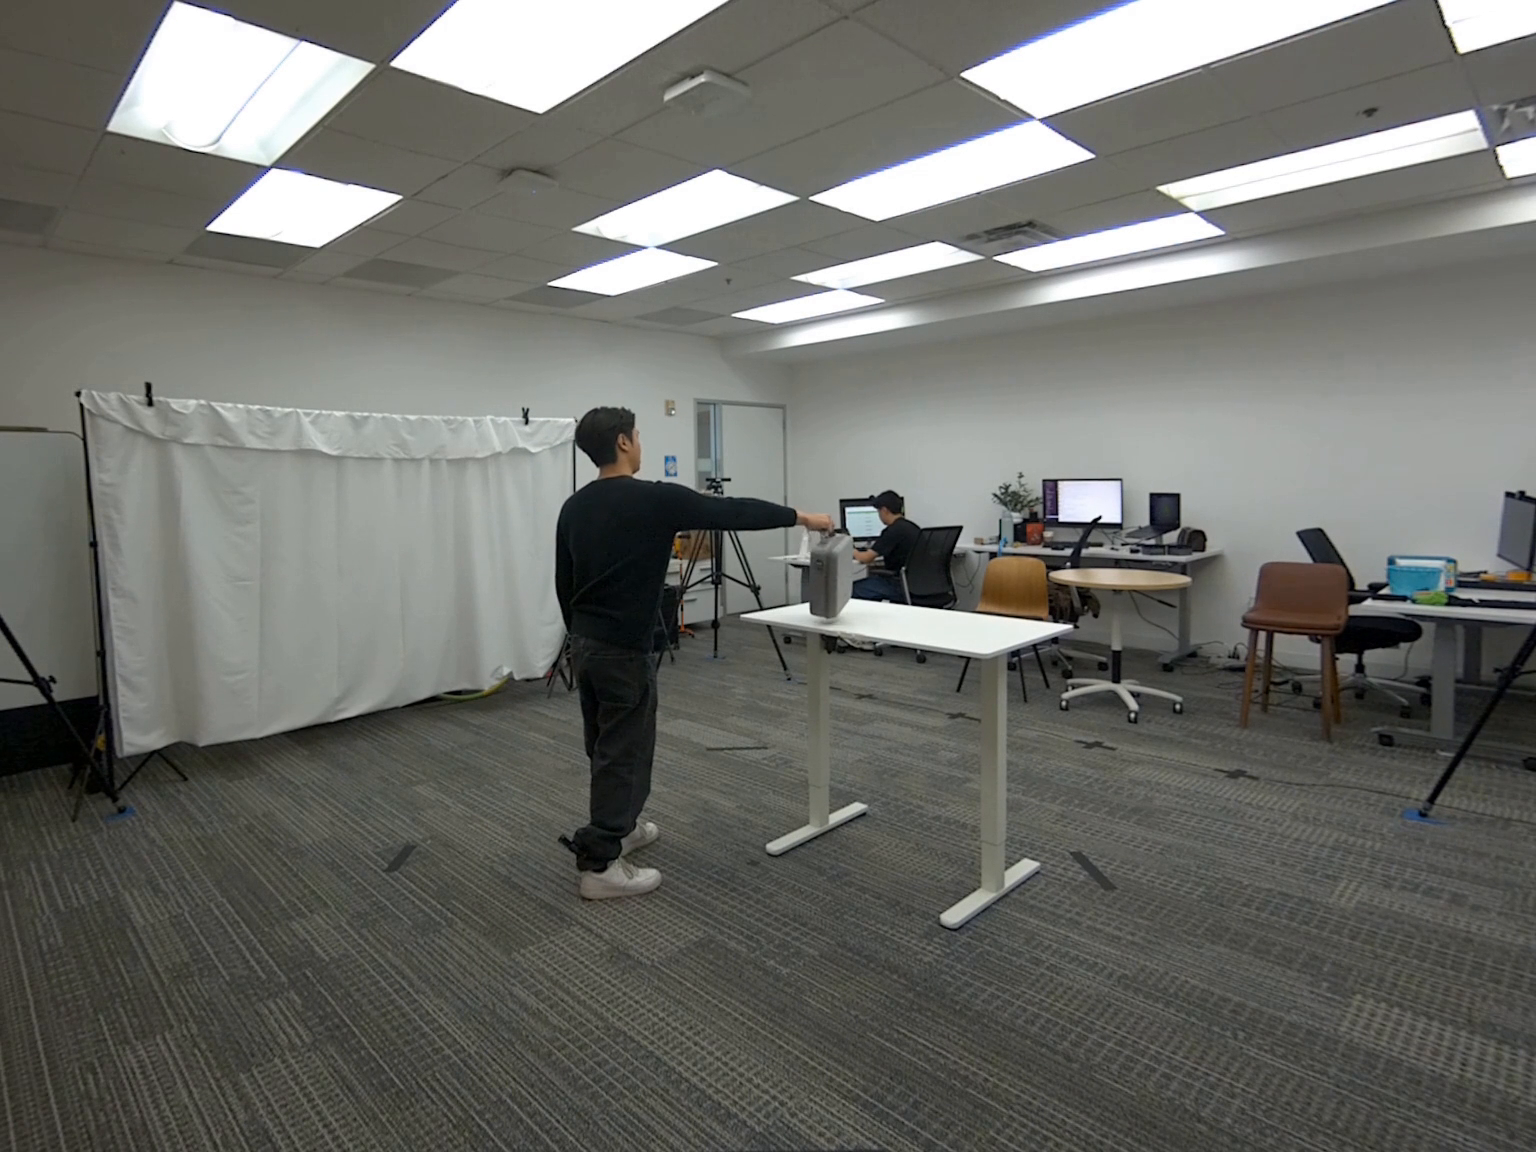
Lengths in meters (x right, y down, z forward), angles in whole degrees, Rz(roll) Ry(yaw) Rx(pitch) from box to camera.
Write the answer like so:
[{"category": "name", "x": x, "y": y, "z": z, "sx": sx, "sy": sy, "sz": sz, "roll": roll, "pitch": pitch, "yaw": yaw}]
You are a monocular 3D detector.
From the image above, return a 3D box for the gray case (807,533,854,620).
[{"category": "gray case", "x": 0.217, "y": -0.003, "z": 3.037, "sx": 0.106, "sy": 0.257, "sz": 0.255, "roll": 3, "pitch": 15, "yaw": 20}]
